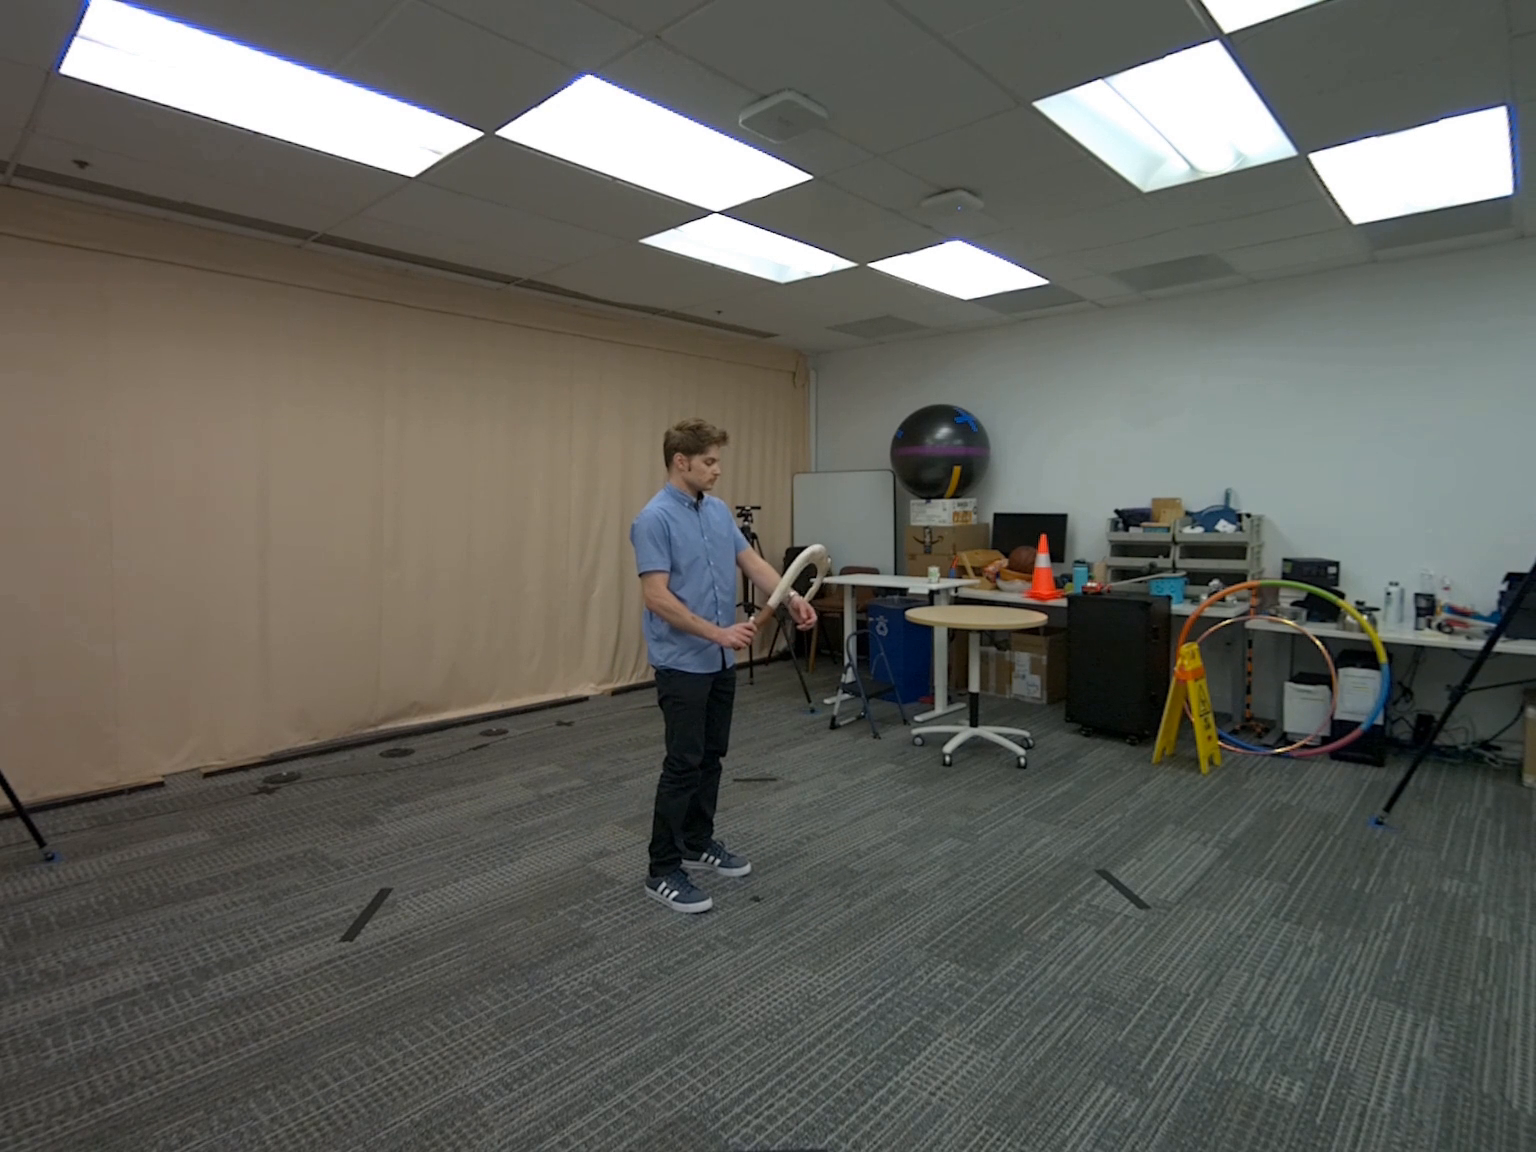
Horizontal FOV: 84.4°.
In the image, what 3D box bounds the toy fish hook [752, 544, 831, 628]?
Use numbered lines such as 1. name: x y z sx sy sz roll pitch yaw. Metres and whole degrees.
1. toy fish hook: 0.068 0.104 3.022 0.050 0.504 0.217 27 -22 41
